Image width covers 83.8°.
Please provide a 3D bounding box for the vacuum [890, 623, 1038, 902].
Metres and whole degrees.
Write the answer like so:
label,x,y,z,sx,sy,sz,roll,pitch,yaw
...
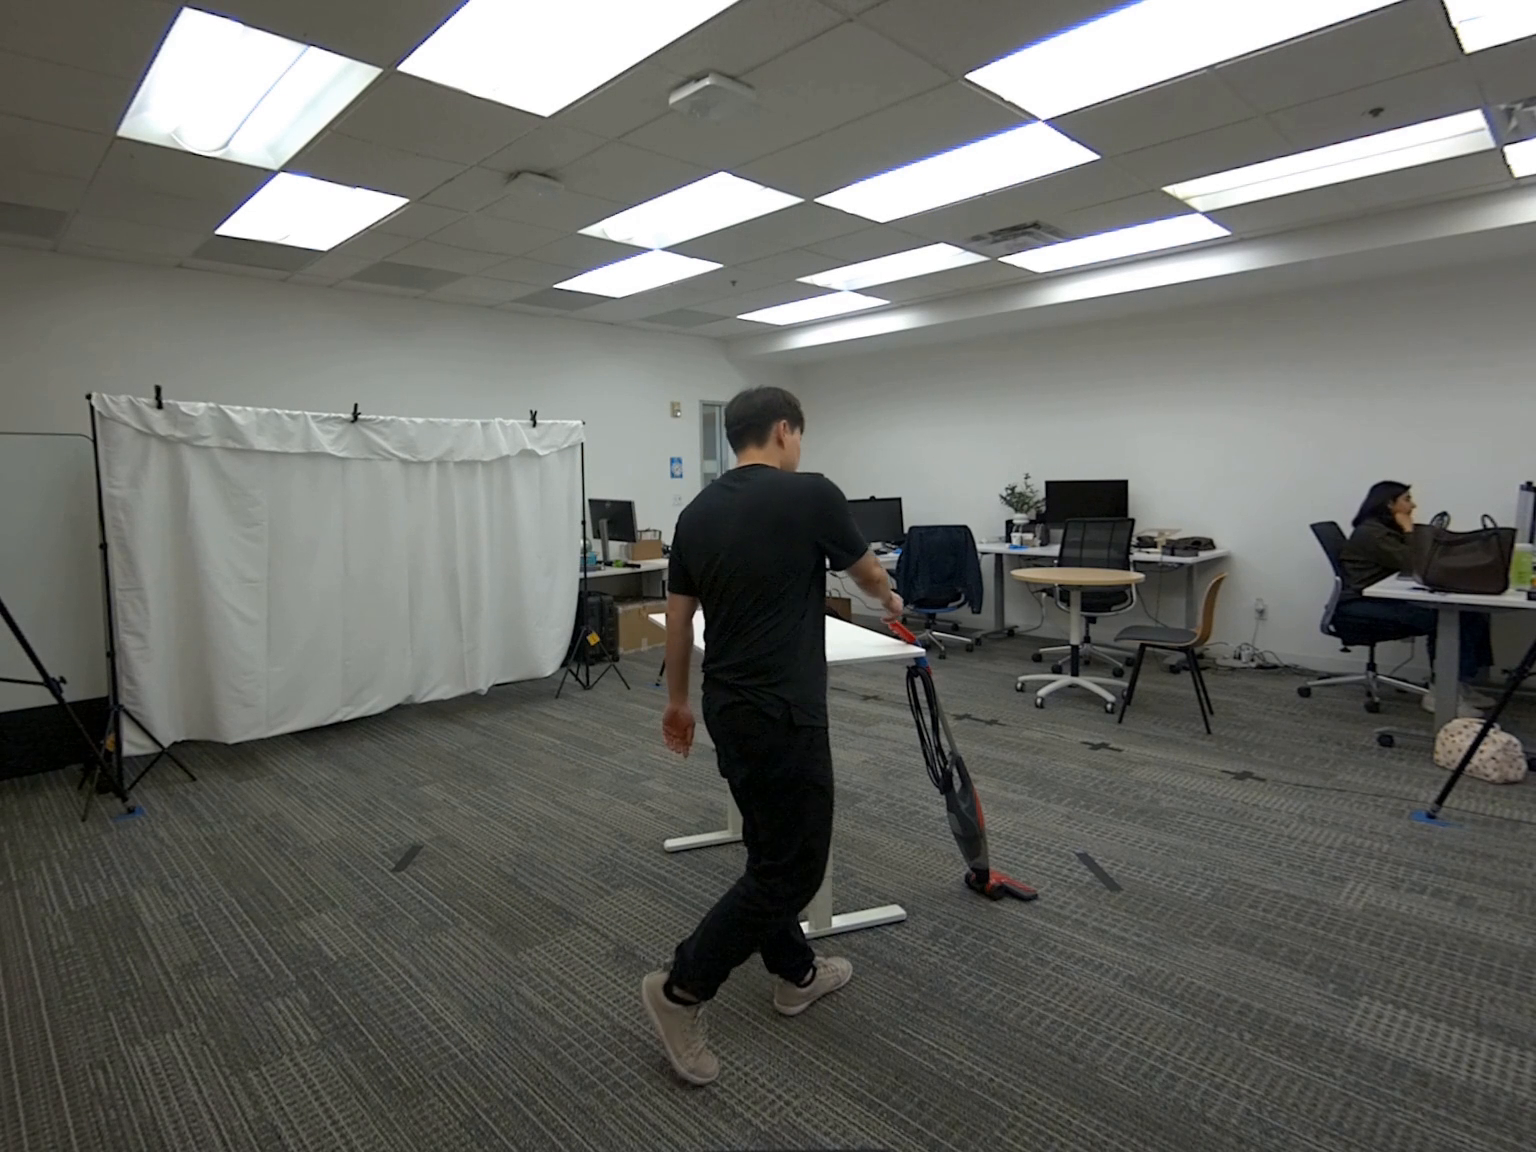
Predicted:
label,x,y,z,sx,sy,sz,roll,pitch,yaw
vacuum,0.582,0.598,2.746,0.143,1.029,0.260,-32,19,-32
